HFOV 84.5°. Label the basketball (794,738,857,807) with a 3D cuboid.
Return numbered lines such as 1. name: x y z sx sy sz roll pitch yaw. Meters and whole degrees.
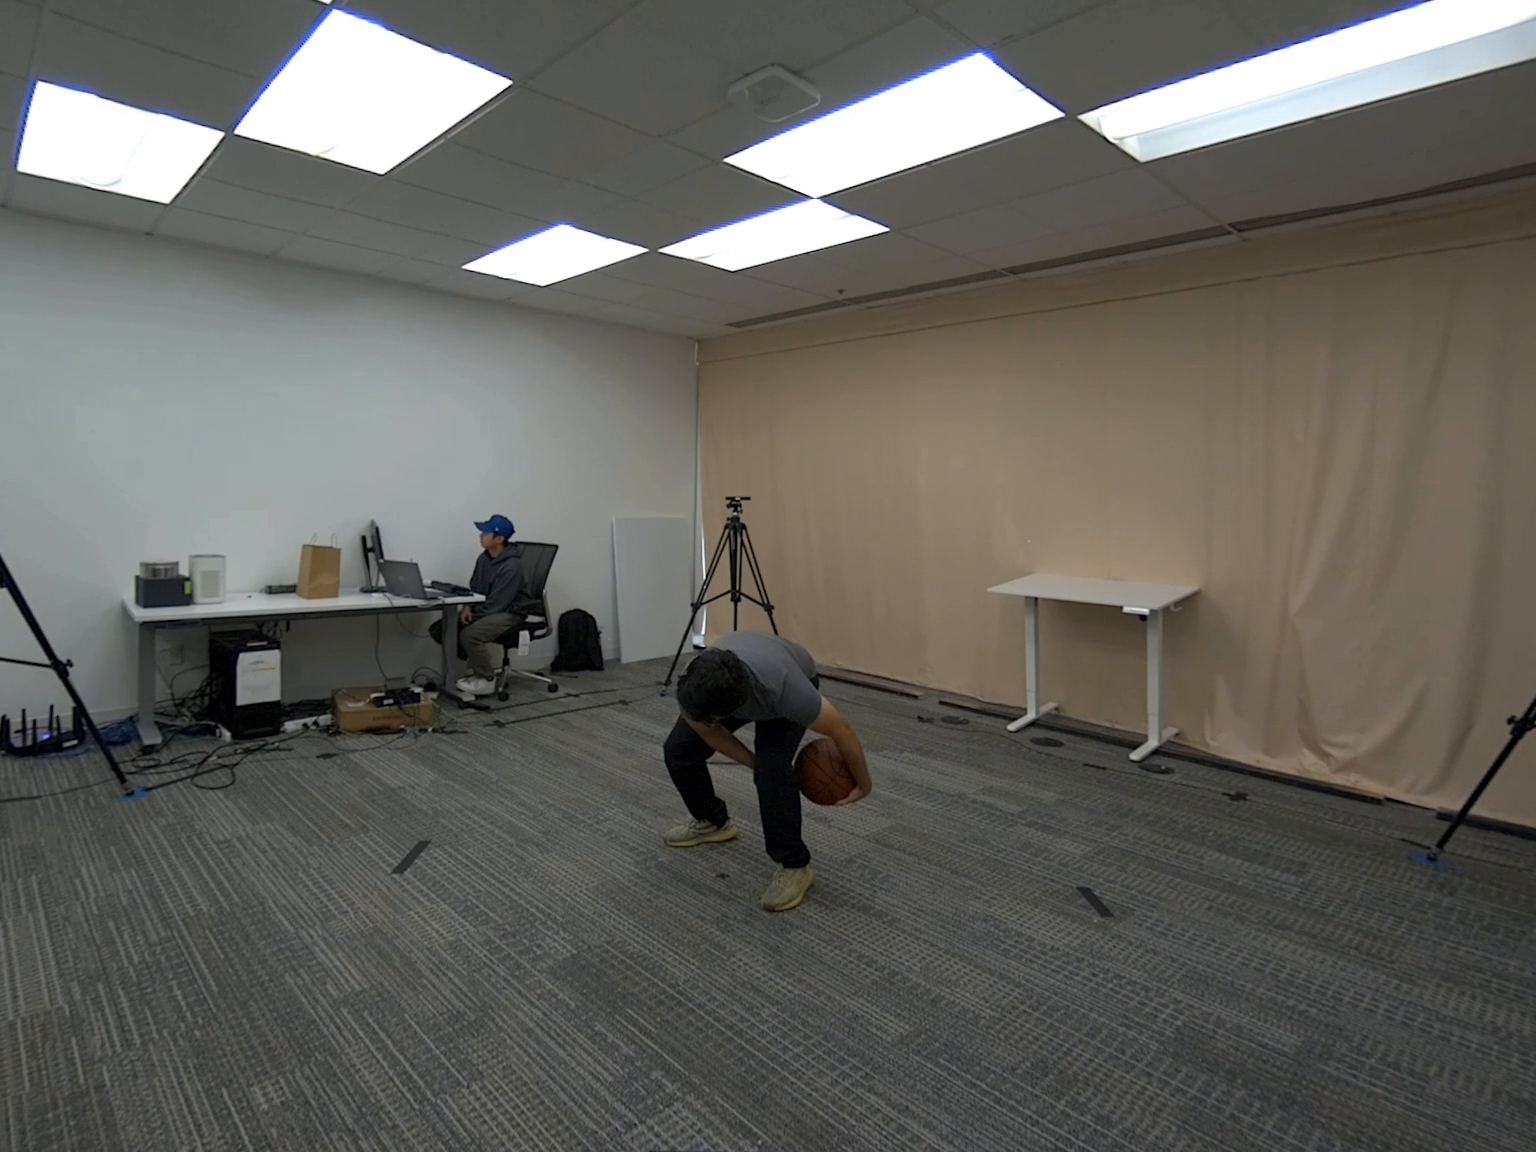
1. basketball: 0.193 0.711 3.065 0.236 0.235 0.237 1 4 -1
